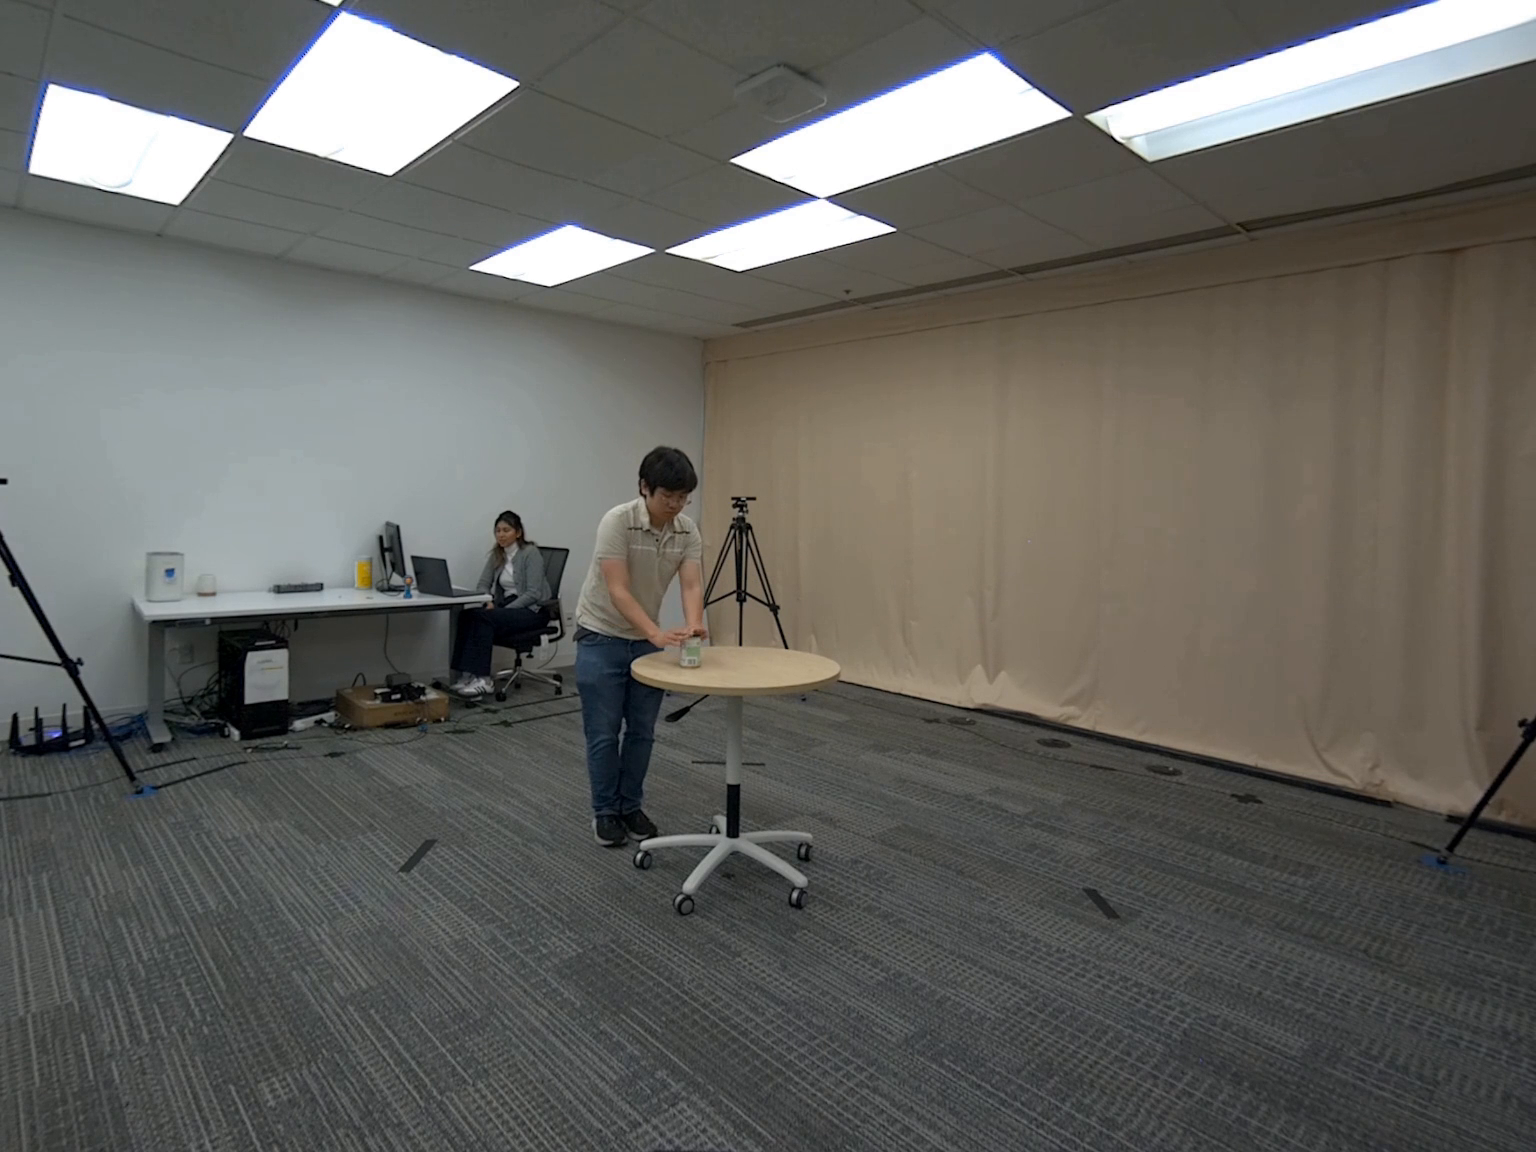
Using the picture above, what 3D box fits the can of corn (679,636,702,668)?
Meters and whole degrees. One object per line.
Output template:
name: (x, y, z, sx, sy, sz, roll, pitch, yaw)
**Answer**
can of corn: (-0.303, 0.273, 3.046, 0.074, 0.111, 0.074, 0, 4, -1)
